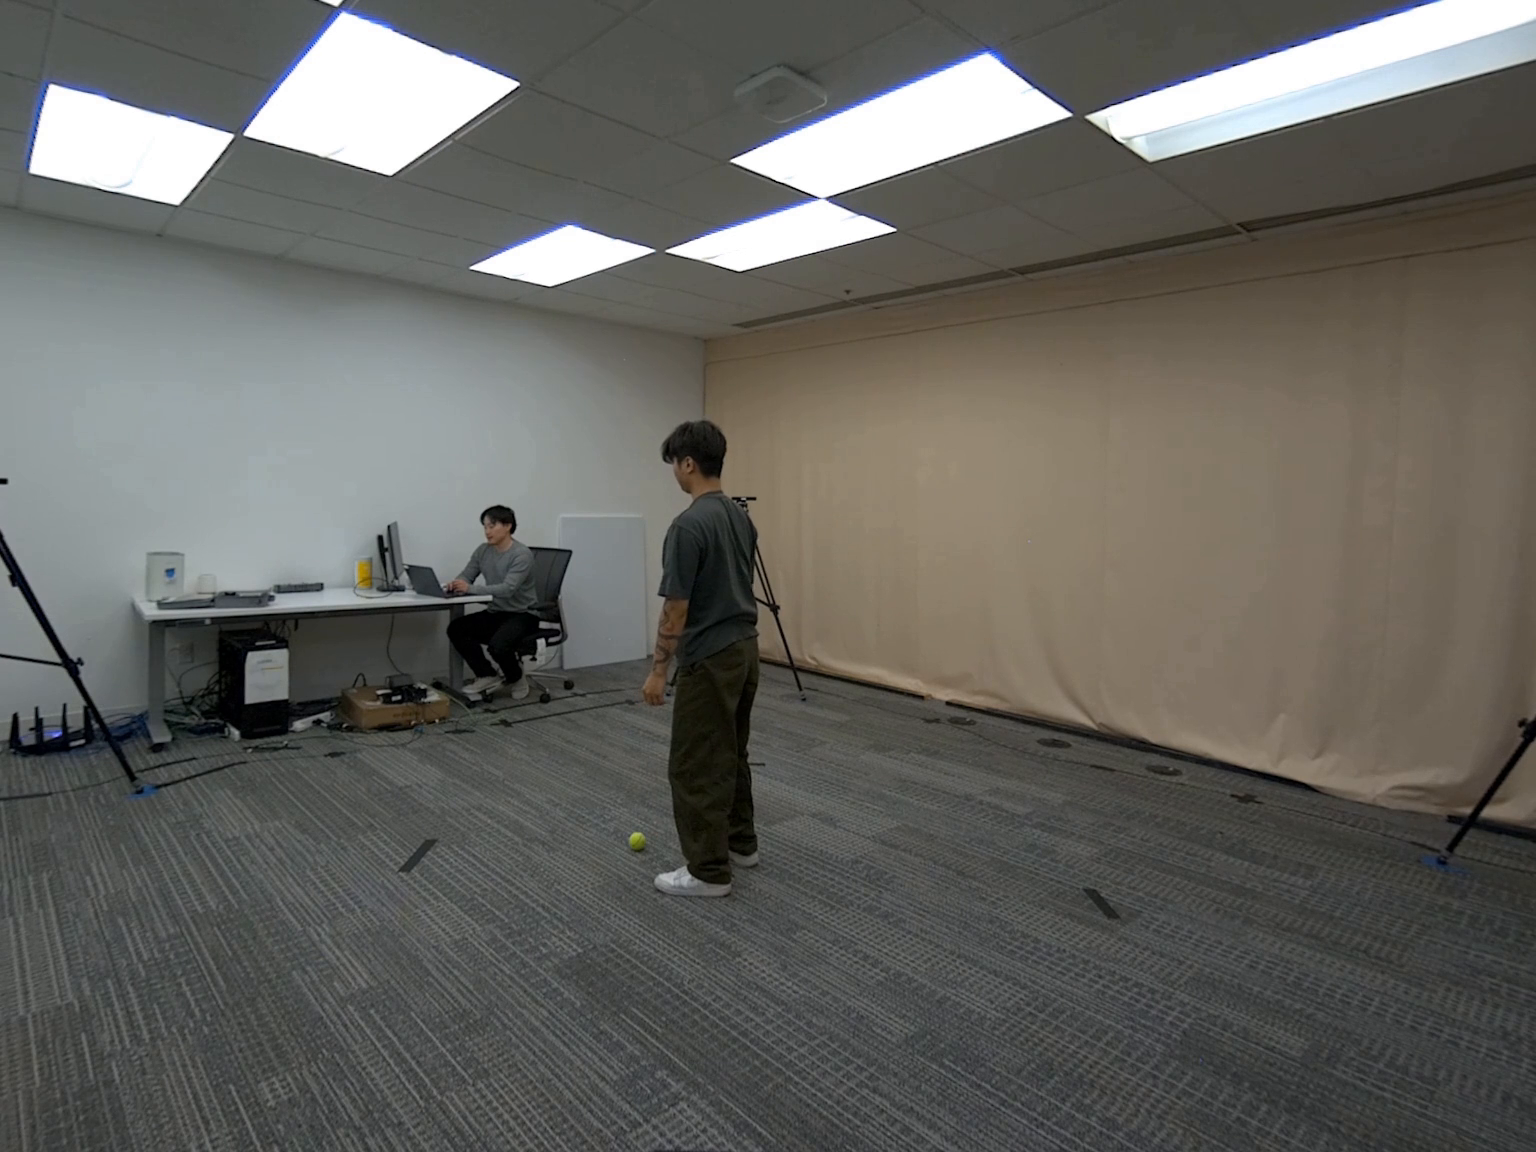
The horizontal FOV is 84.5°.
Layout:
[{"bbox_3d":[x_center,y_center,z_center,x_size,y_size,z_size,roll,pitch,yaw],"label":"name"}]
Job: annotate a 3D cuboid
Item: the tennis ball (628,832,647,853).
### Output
[{"bbox_3d":[-0.524,1.029,3.317,0.066,0.066,0.067,1,4,-1],"label":"tennis ball"}]
